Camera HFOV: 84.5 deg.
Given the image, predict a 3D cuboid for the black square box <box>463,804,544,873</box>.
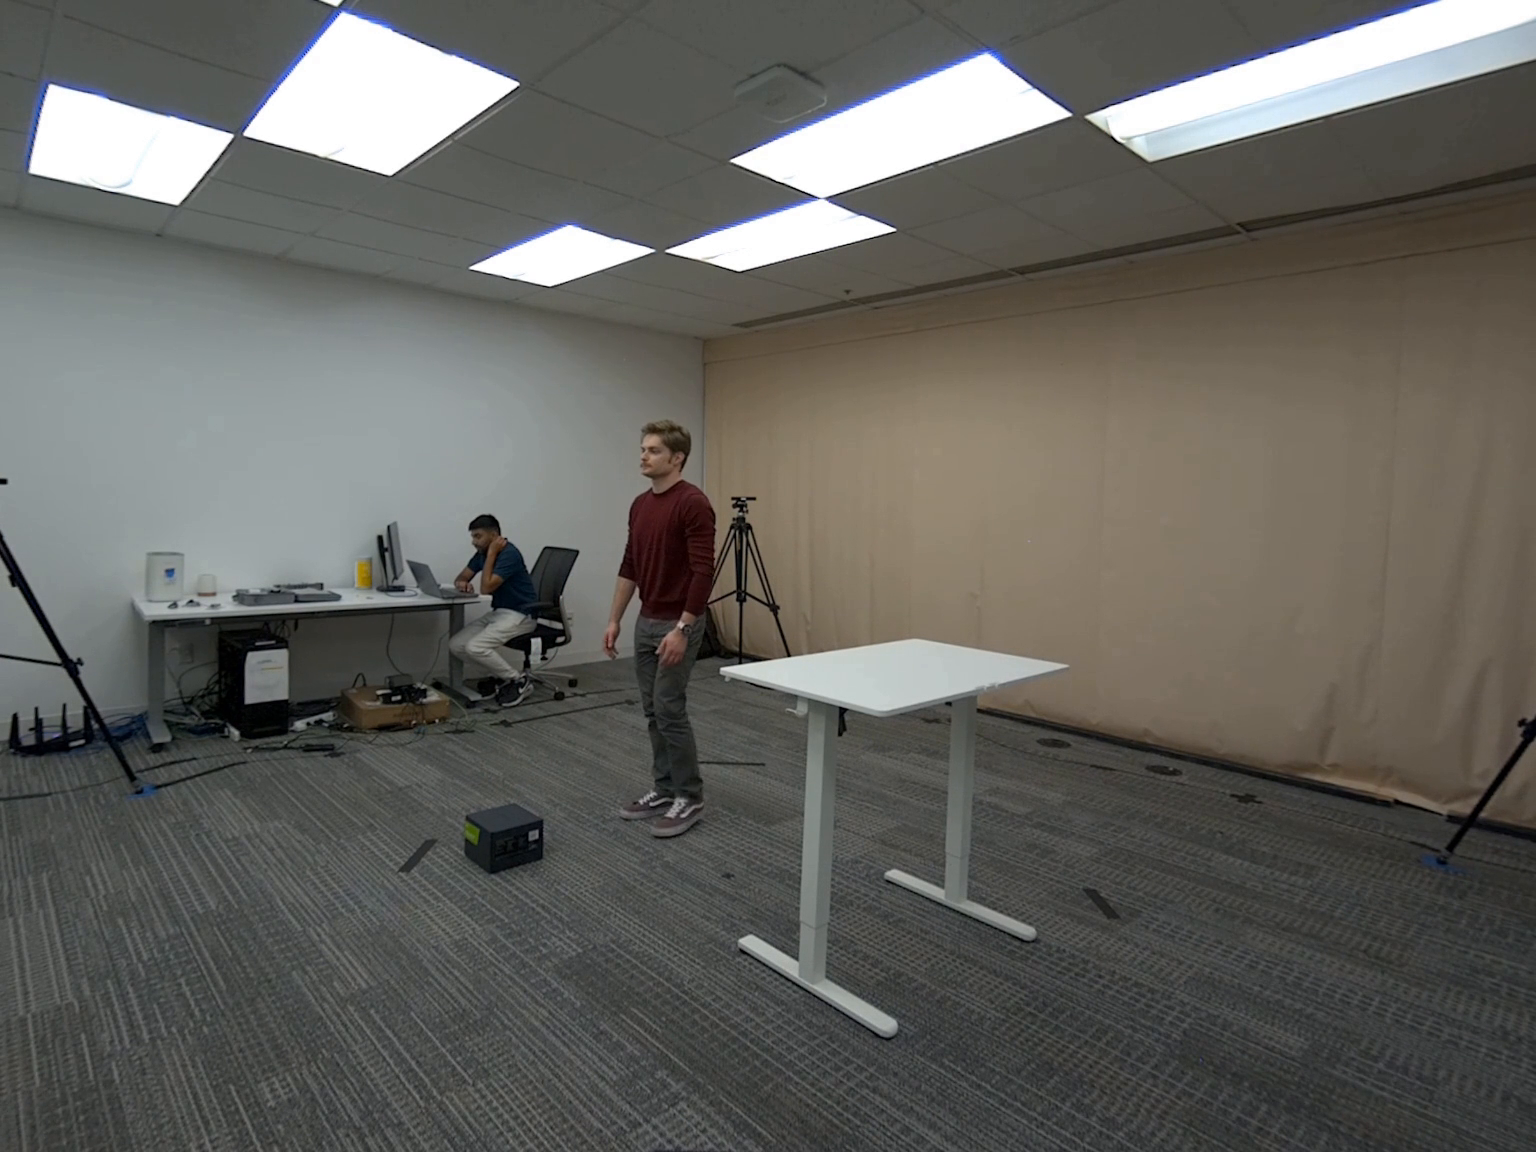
[{"bbox_3d":[-1.018,0.996,3.216,0.212,0.155,0.234,-3,6,-43],"label":"black square box"}]
